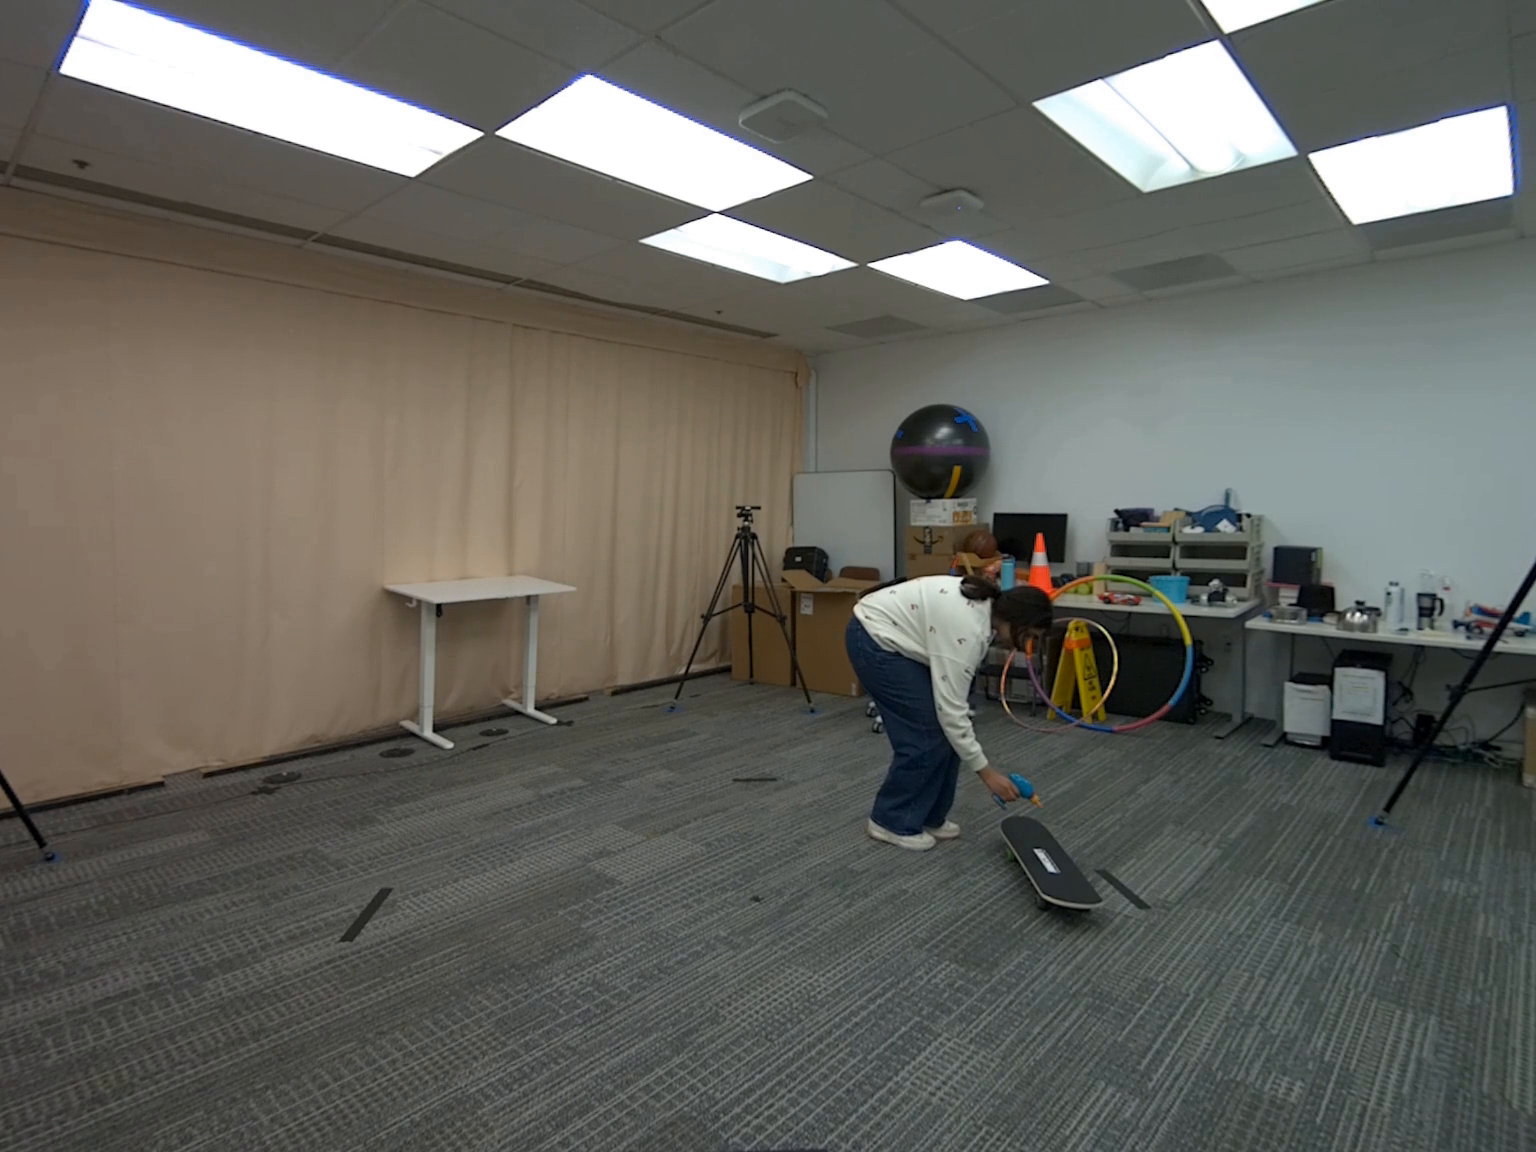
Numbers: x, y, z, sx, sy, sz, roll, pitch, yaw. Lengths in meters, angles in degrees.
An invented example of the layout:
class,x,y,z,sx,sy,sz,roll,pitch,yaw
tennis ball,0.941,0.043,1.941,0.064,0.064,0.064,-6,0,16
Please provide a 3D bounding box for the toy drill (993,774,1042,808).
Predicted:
class,x,y,z,sx,sy,sz,roll,pitch,yaw
toy drill,0.973,0.858,3.242,0.146,0.170,0.061,-41,-3,2
